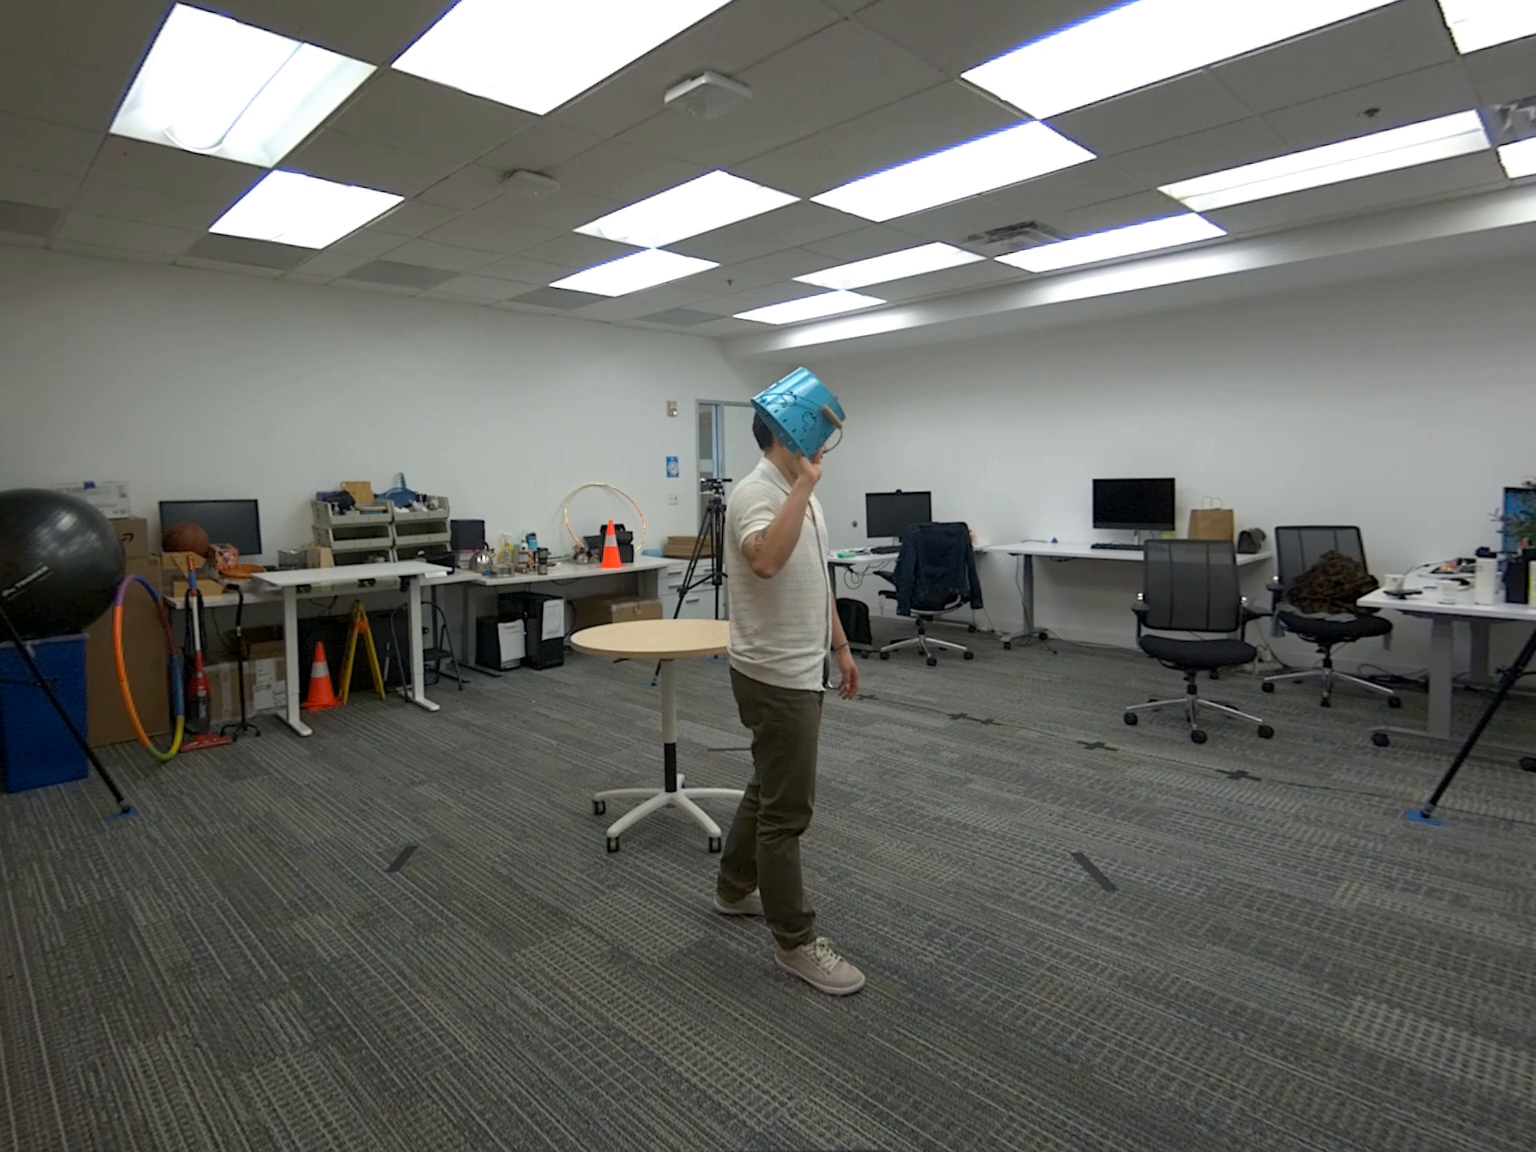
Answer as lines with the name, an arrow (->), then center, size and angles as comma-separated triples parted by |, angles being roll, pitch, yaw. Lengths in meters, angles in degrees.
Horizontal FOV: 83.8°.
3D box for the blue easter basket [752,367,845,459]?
blue easter basket -> 0.095, -0.425, 2.241 | 0.156, 0.242, 0.245 | -41, 7, -1
